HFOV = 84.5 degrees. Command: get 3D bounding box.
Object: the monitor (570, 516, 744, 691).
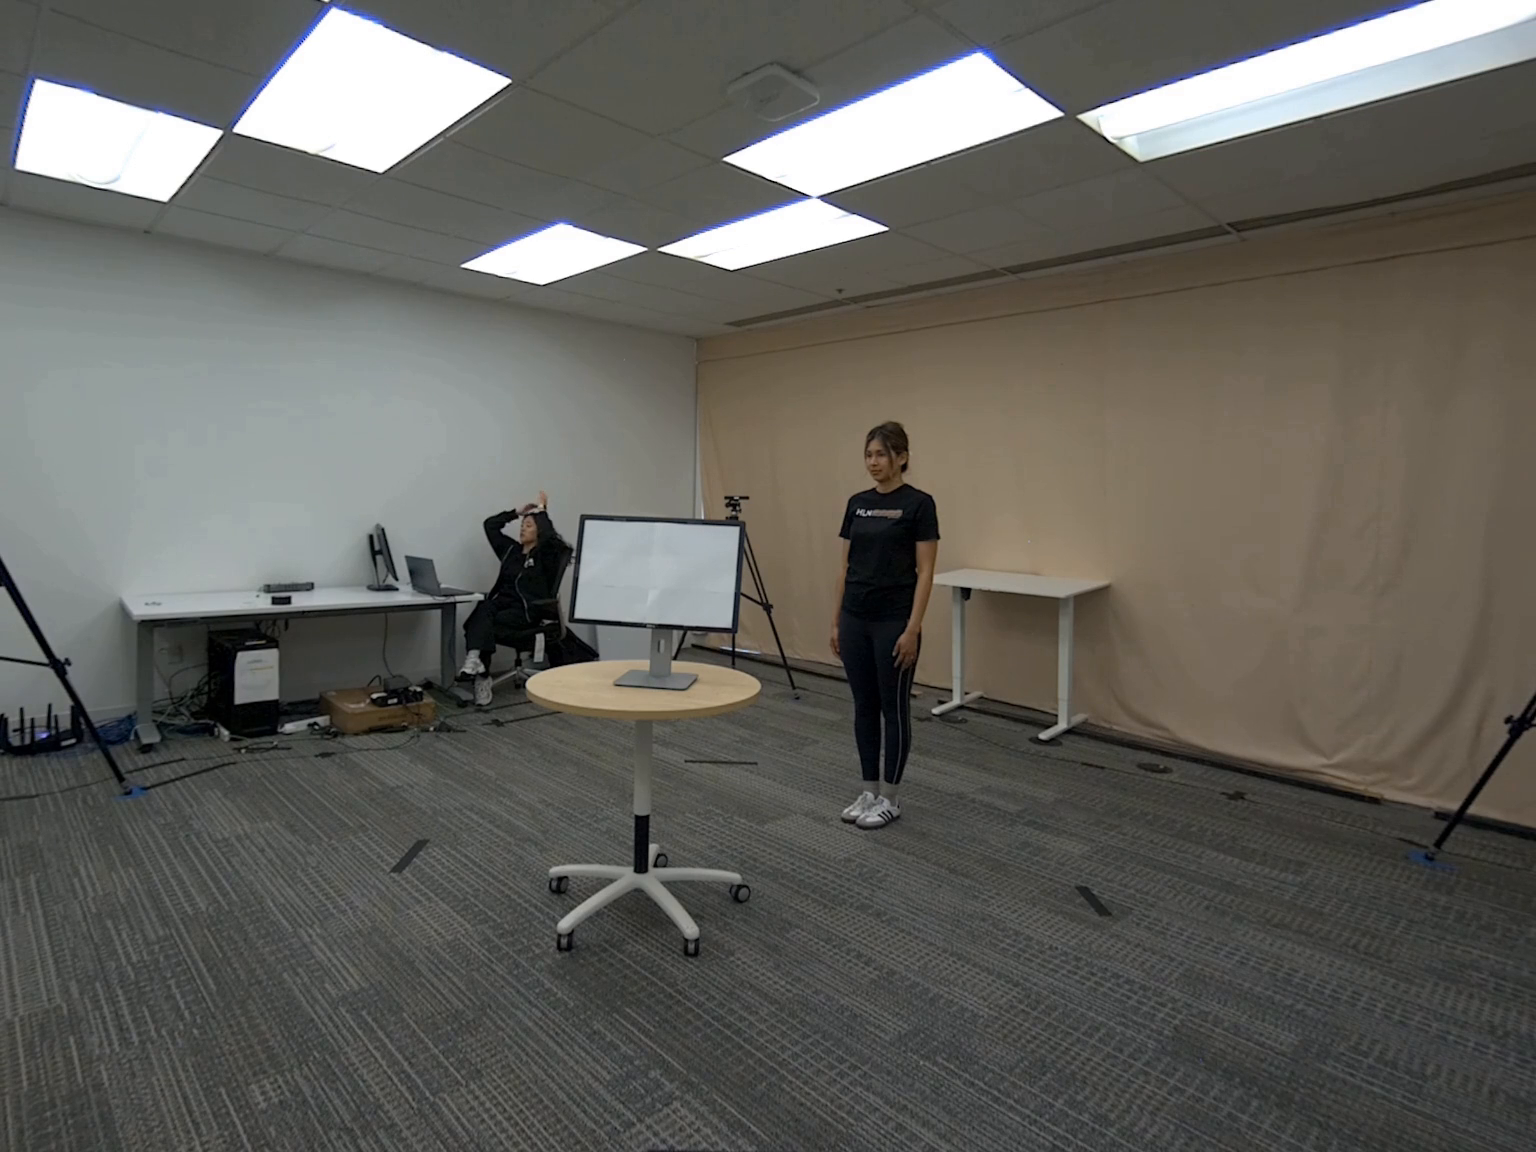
[{"bbox_3d":[-0.359,0.088,2.765,0.543,0.521,0.186,3,3,9],"label":"monitor"}]
